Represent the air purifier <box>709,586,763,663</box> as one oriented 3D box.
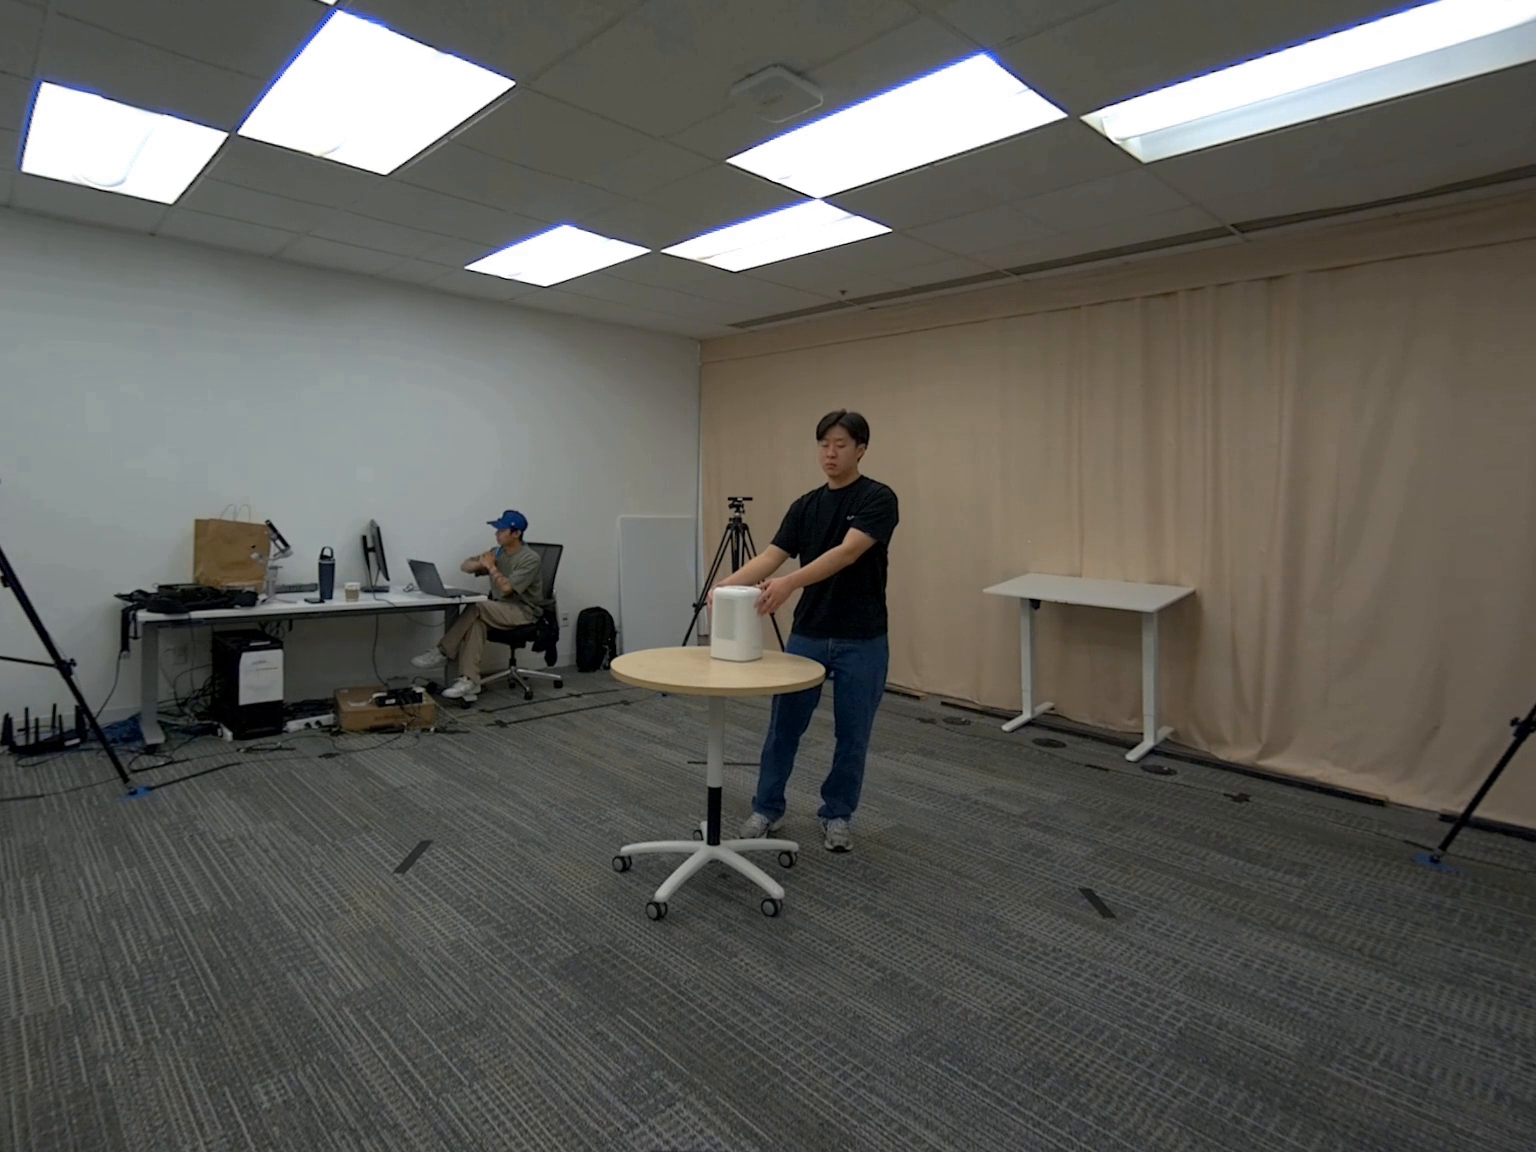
[{"bbox_3d":[-0.123,0.177,3.165,0.175,0.265,0.167,3,2,34],"label":"air purifier"}]
